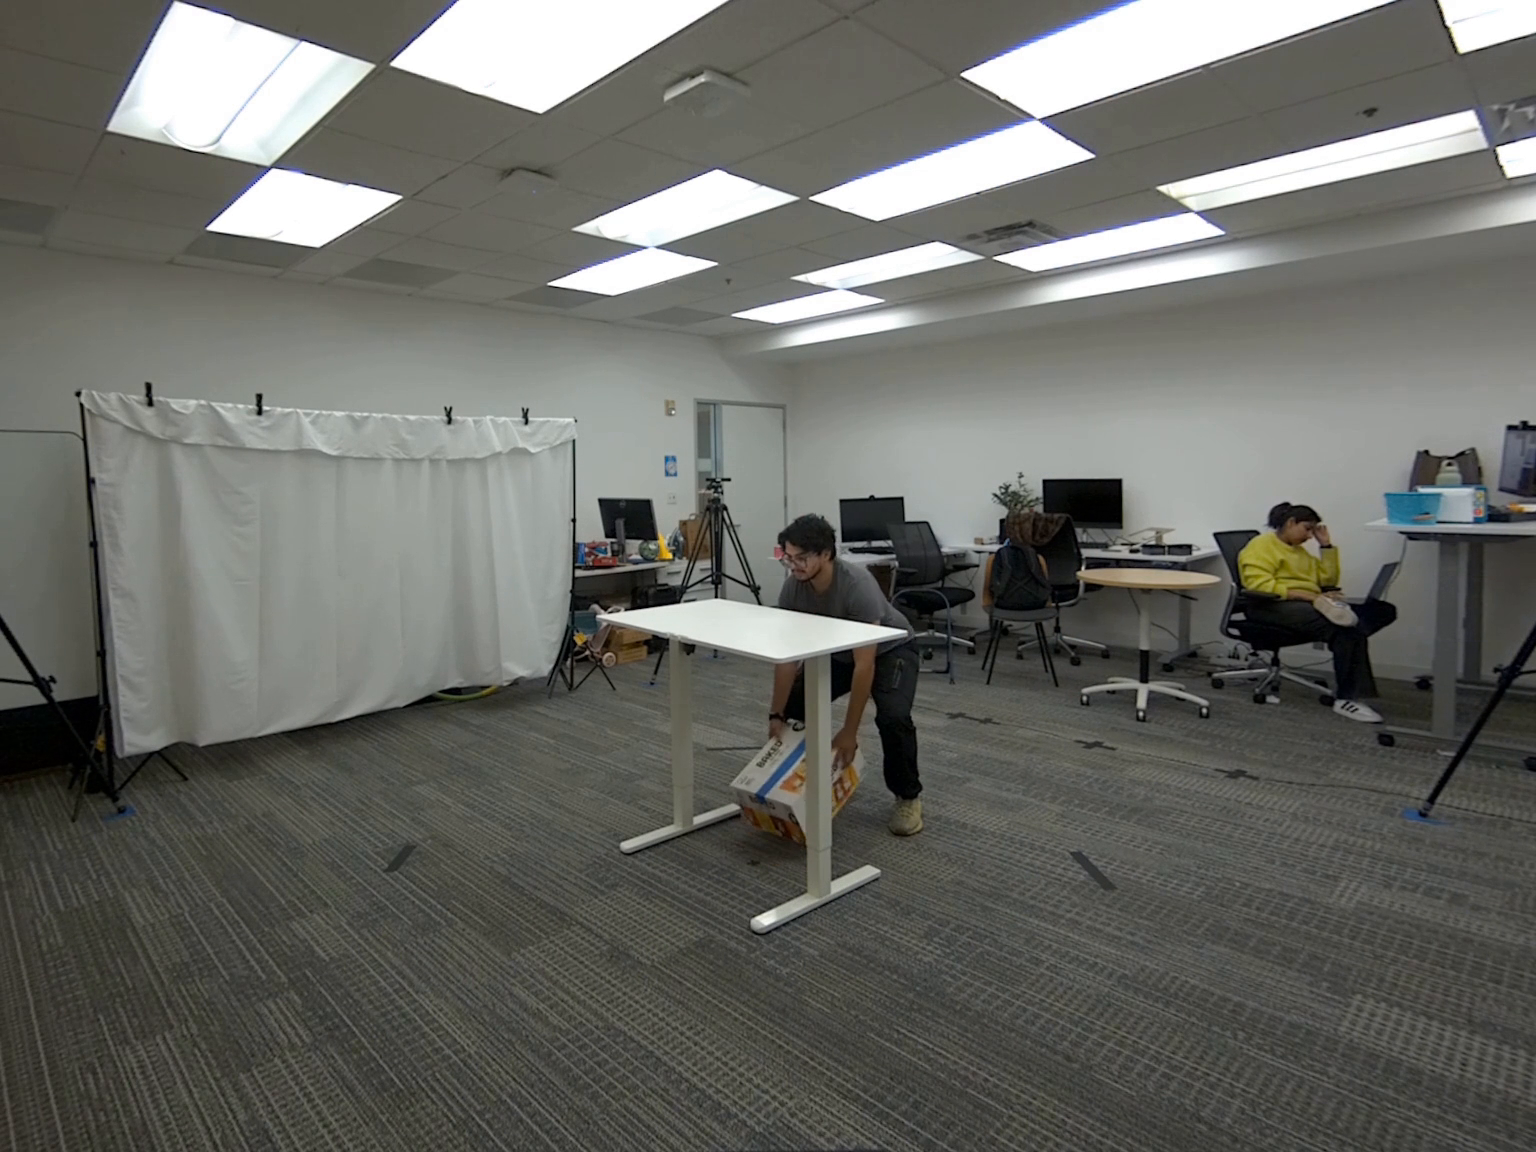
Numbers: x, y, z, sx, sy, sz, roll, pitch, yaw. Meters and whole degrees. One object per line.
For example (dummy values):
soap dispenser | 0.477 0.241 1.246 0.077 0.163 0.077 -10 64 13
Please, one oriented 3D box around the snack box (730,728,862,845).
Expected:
snack box | 0.124 0.800 3.338 0.350 0.201 0.403 1 34 47
